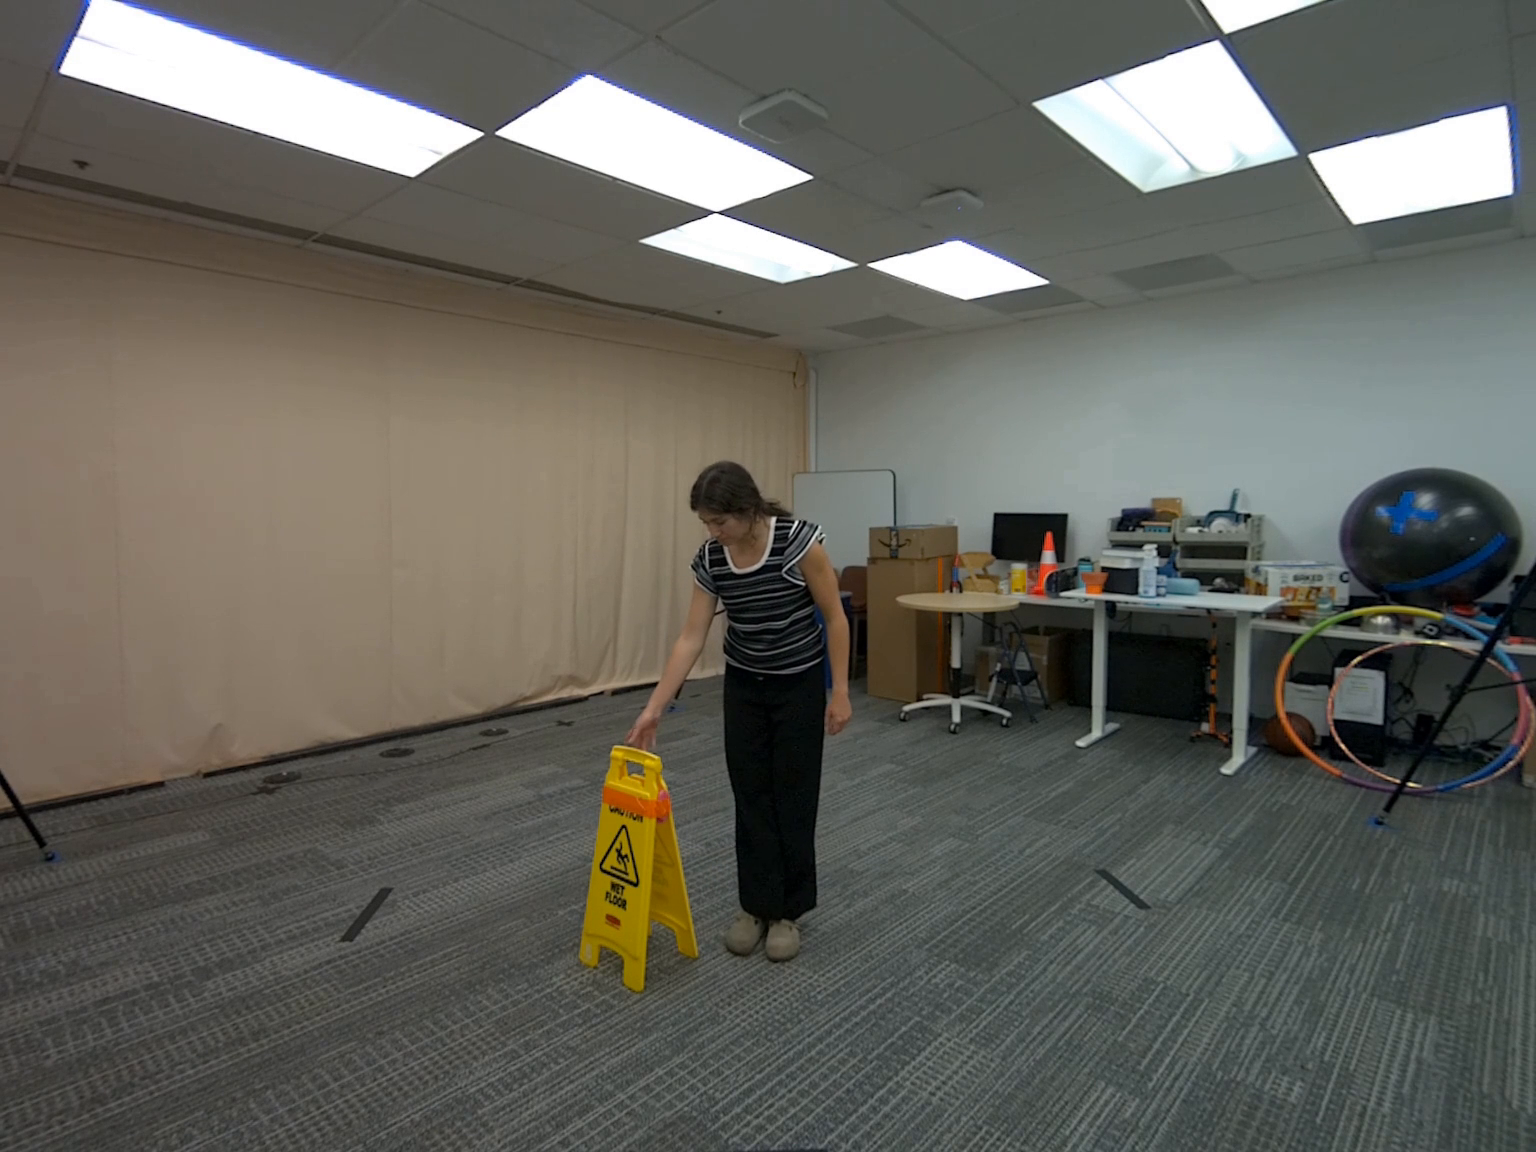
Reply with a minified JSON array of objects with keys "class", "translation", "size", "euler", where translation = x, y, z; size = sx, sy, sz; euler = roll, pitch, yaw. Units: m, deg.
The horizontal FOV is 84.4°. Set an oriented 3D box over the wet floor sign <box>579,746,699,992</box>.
[{"class":"wet floor sign","translation":[-0.397,0.857,2.572],"size":[0.291,0.644,0.281],"euler":[1,5,39]}]
